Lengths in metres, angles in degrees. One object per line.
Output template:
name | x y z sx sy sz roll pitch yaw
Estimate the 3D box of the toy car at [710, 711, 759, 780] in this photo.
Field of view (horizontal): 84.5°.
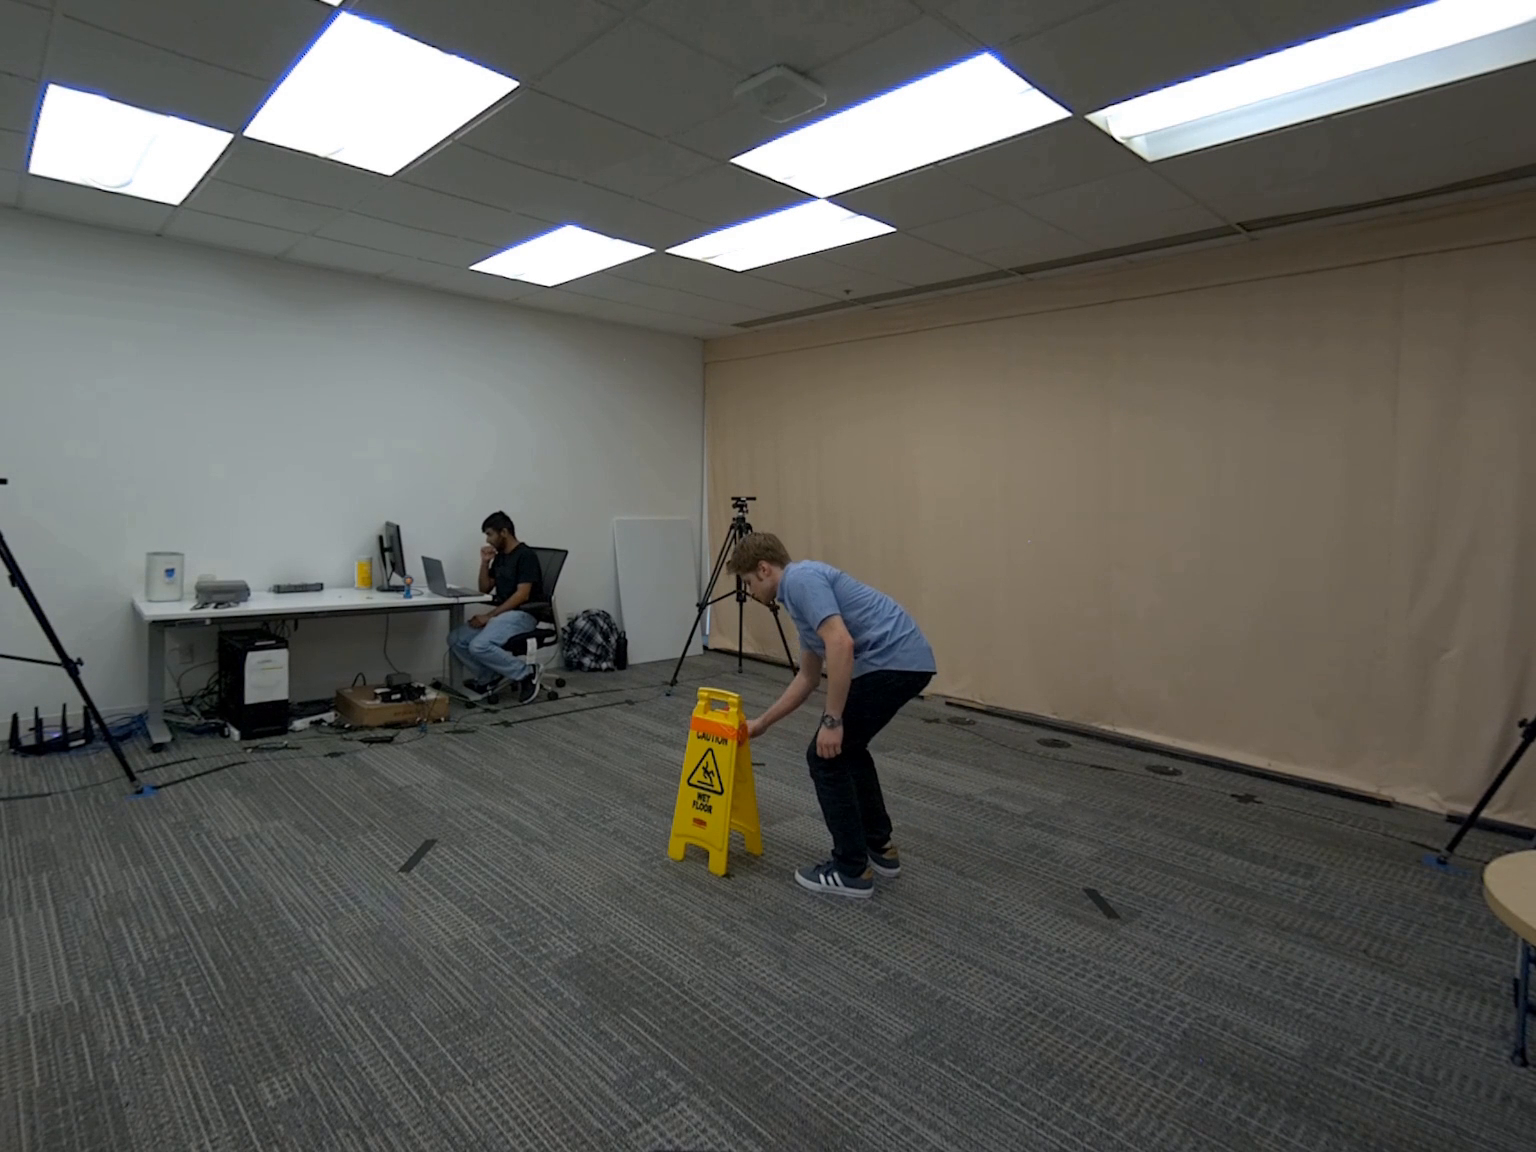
toy car | -0.130 0.660 3.297 0.132 0.250 0.083 -3 21 16
